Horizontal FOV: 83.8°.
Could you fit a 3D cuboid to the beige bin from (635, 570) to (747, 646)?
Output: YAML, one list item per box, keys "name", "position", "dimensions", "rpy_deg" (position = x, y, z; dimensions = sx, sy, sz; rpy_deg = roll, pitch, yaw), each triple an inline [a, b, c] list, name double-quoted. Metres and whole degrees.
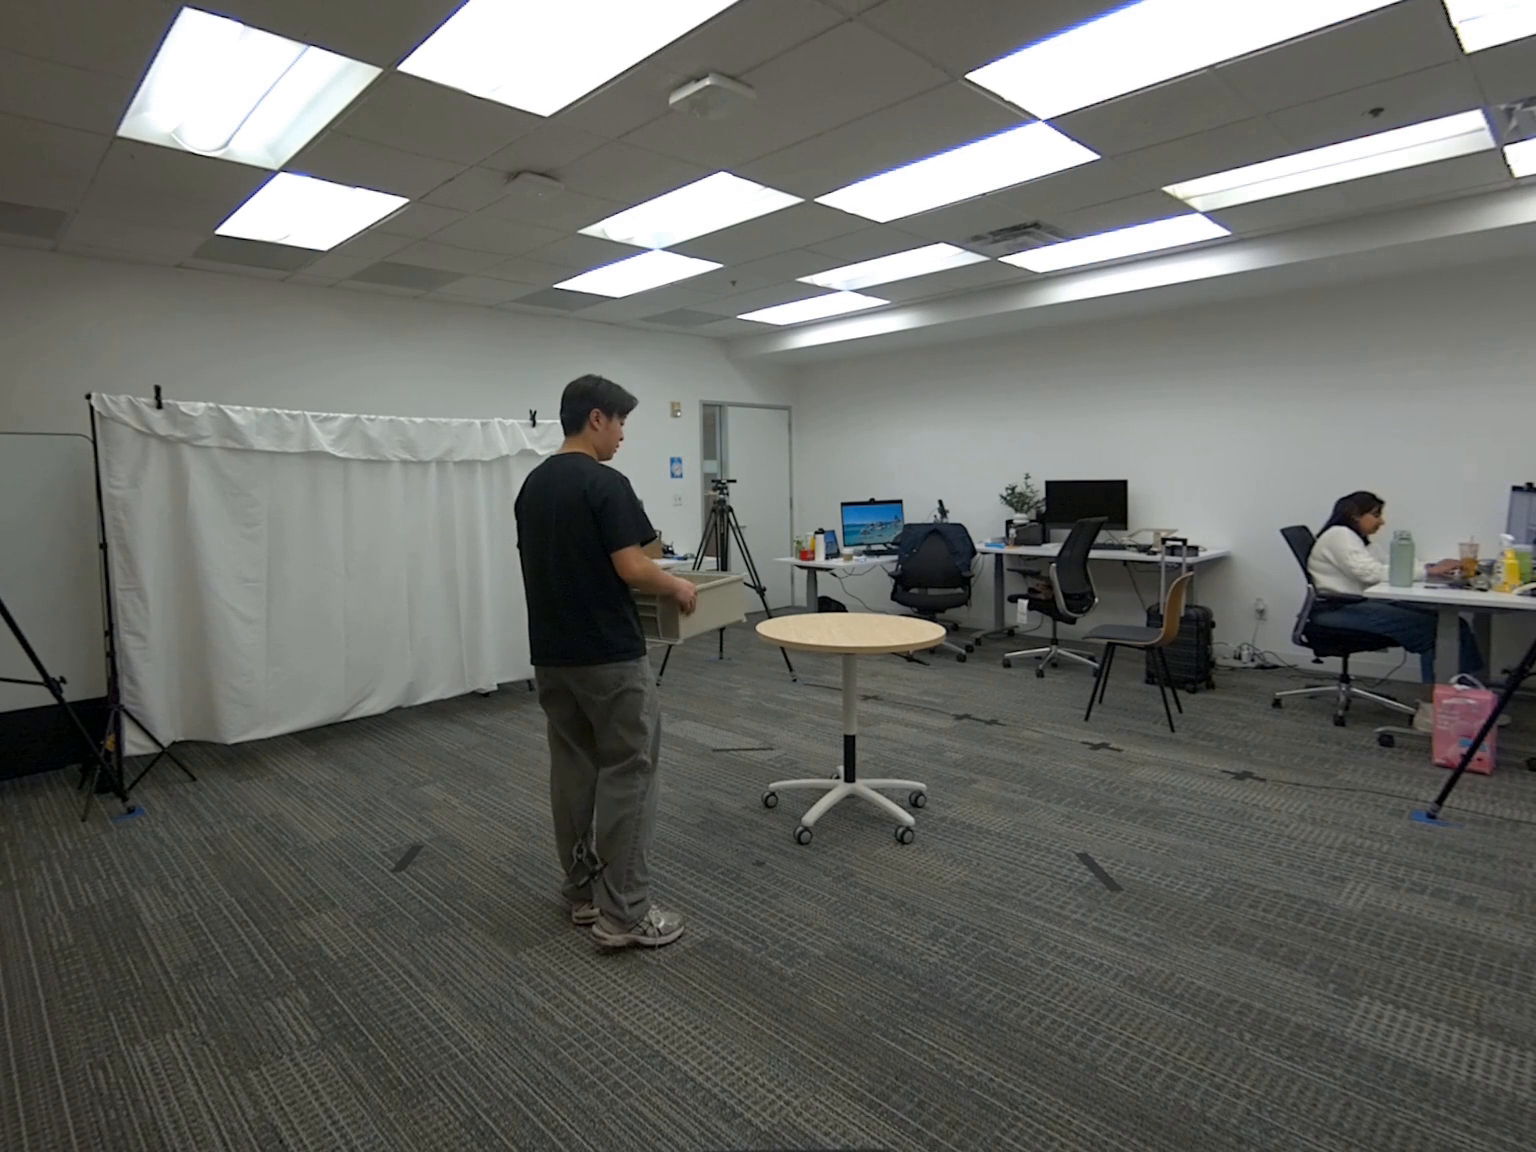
- name: "beige bin"
  position: [-0.338, 0.101, 3.082]
  dimensions: [0.388, 0.188, 0.413]
  rpy_deg: [5, 10, 35]
